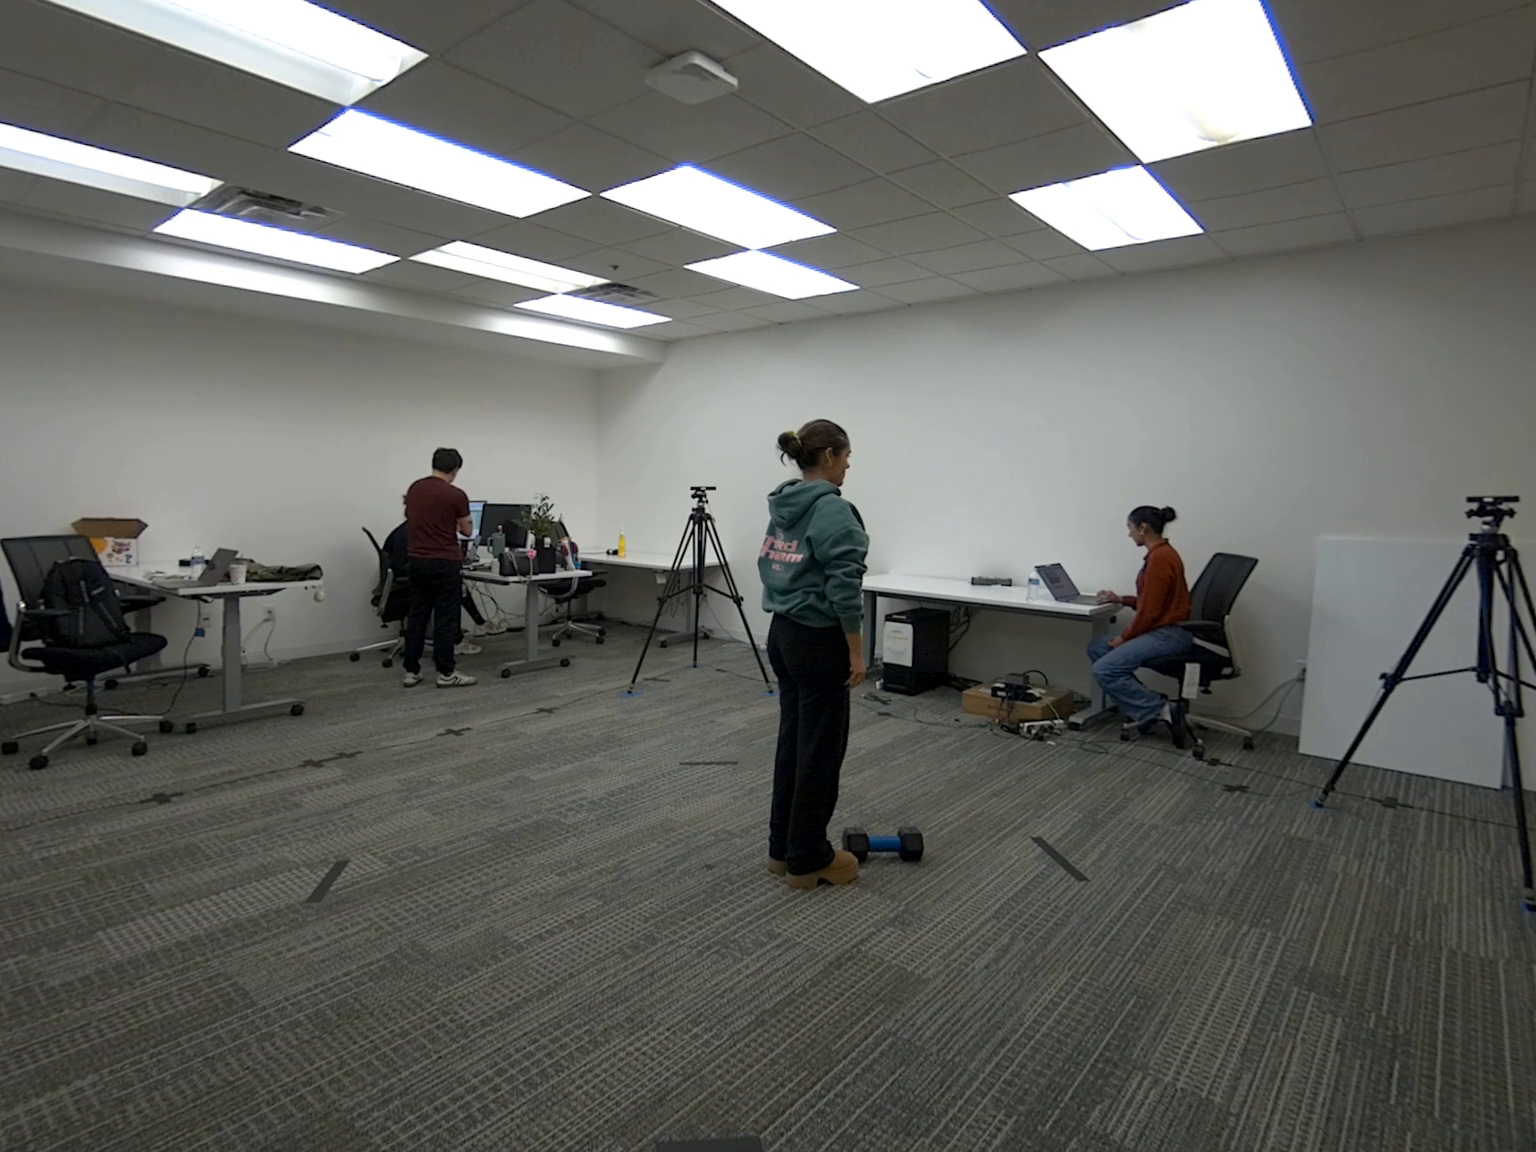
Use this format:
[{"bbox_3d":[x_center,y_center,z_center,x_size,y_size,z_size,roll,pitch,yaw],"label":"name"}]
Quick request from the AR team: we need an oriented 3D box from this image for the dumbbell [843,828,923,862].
[{"bbox_3d":[0.428,1.020,3.233,0.292,0.126,0.107,1,-26,-6],"label":"dumbbell"}]
